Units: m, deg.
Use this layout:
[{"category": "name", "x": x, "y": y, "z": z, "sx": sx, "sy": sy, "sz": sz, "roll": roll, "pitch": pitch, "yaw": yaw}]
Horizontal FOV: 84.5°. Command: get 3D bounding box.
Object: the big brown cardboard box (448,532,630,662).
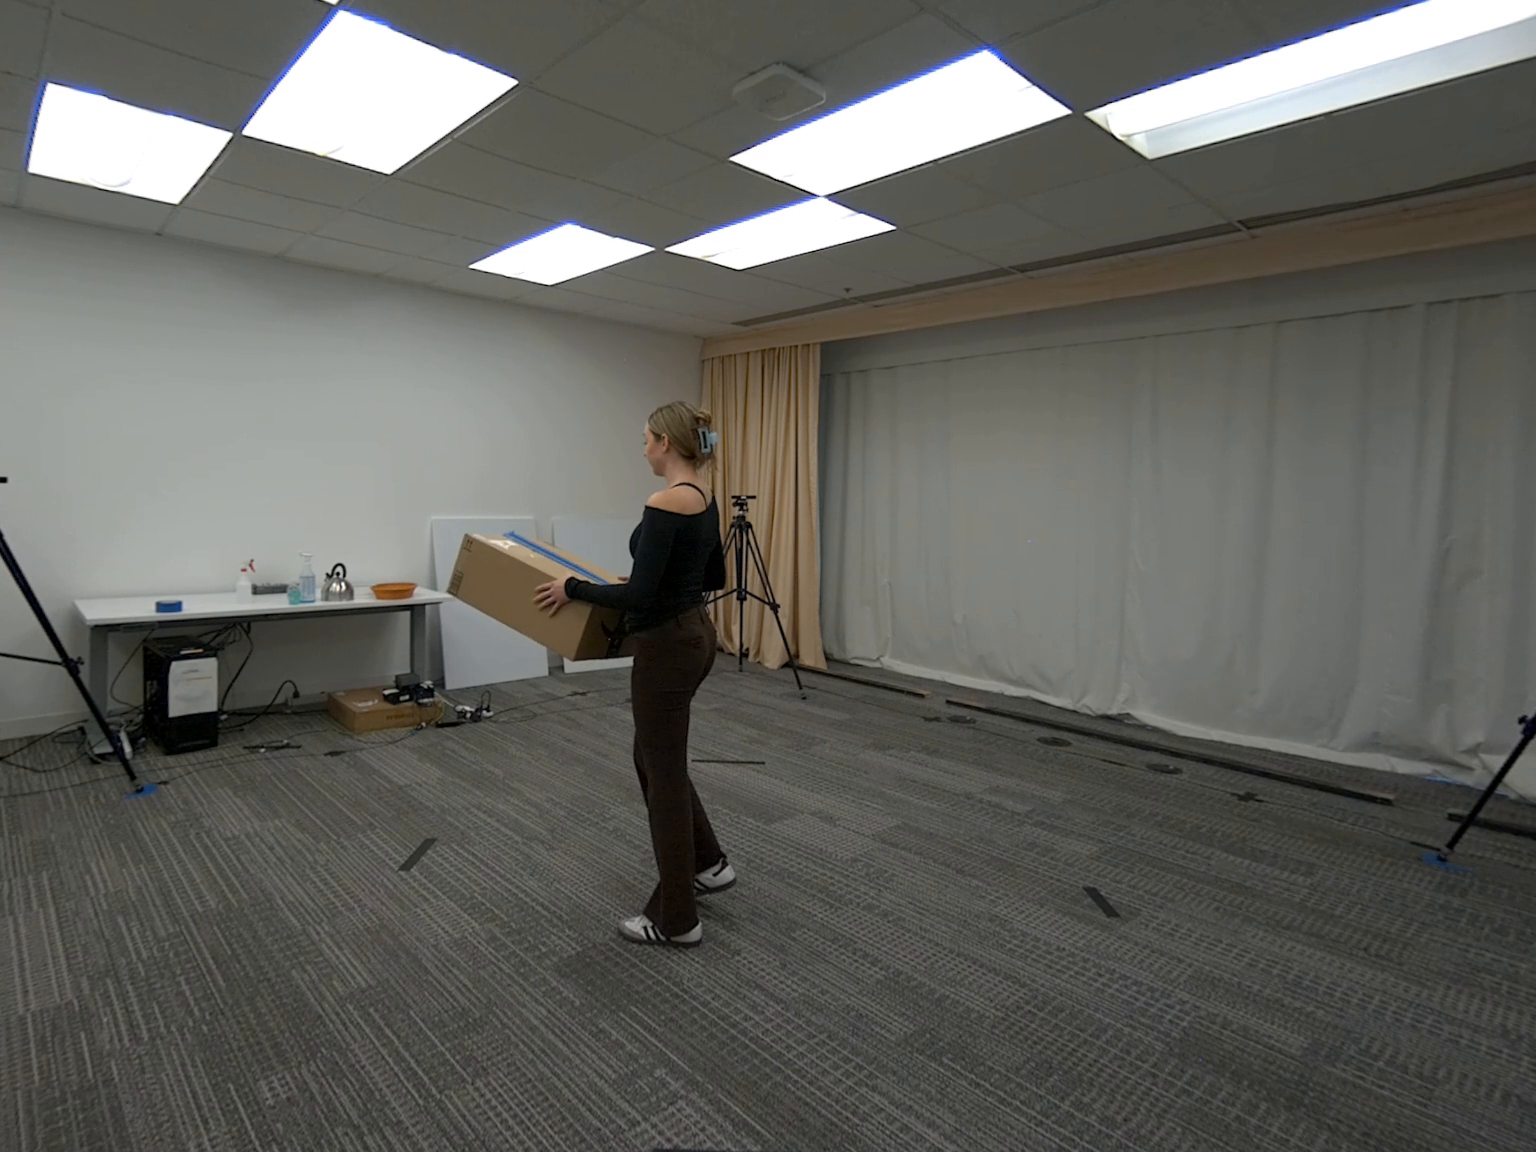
[{"category": "big brown cardboard box", "x": -0.724, "y": 0.064, "z": 2.842, "sx": 0.602, "sy": 0.232, "sz": 0.409, "roll": 25, "pitch": 8, "yaw": 23}]
